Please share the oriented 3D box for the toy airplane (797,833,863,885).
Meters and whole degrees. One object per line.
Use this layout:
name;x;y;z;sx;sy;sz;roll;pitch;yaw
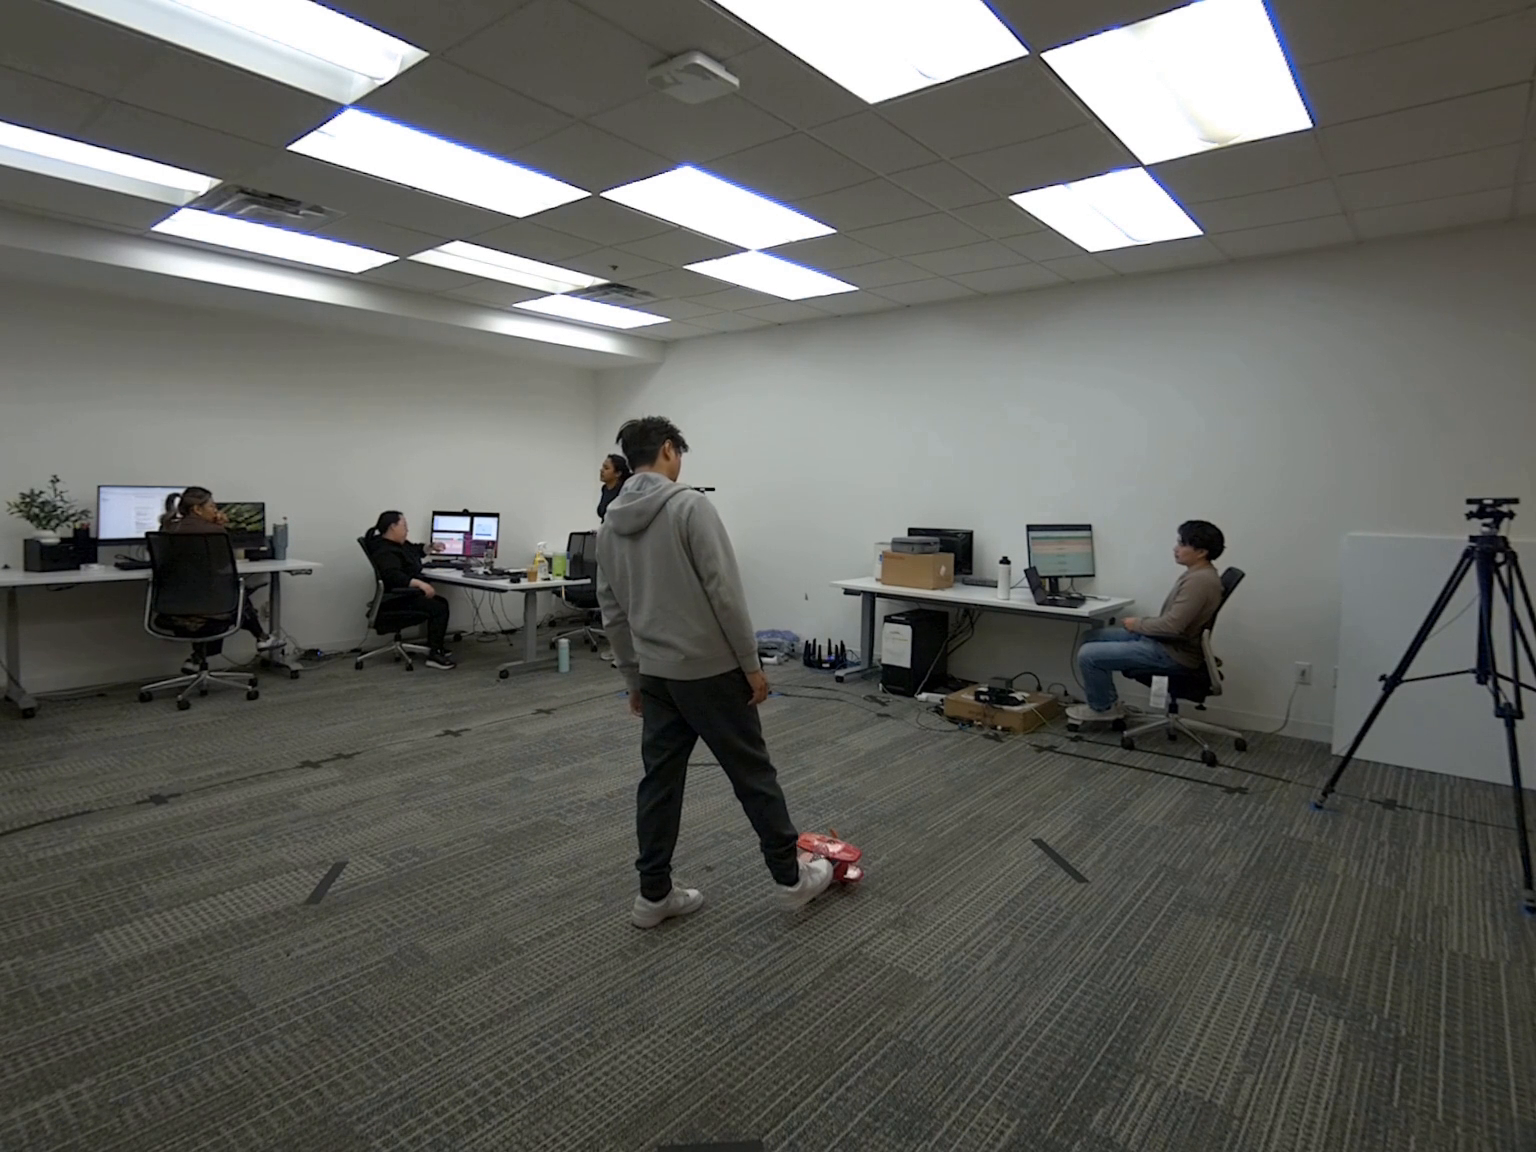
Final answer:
toy airplane;0.203;1.016;2.969;0.254;0.156;0.257;2;3;8
